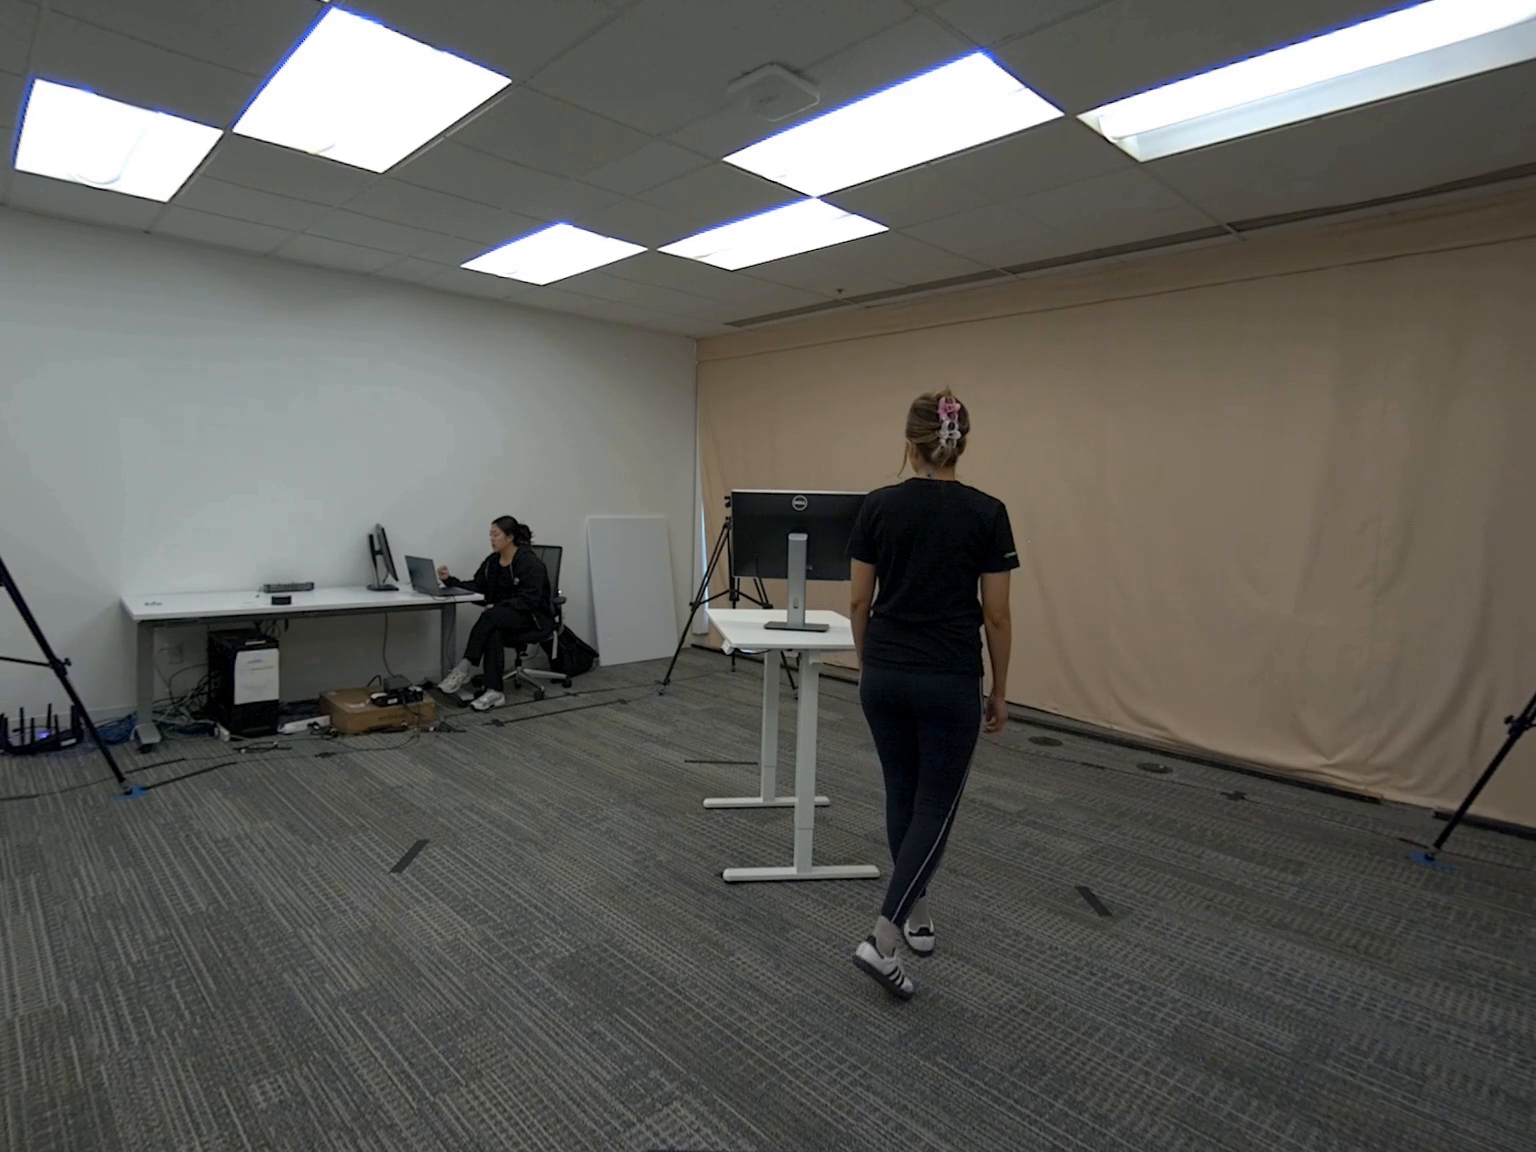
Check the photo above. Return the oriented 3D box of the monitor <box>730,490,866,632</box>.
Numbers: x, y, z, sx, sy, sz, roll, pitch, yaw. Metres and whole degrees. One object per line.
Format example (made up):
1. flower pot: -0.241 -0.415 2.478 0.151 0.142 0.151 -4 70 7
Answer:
1. monitor: 0.106 -0.057 3.321 0.543 0.522 0.186 2 2 9
